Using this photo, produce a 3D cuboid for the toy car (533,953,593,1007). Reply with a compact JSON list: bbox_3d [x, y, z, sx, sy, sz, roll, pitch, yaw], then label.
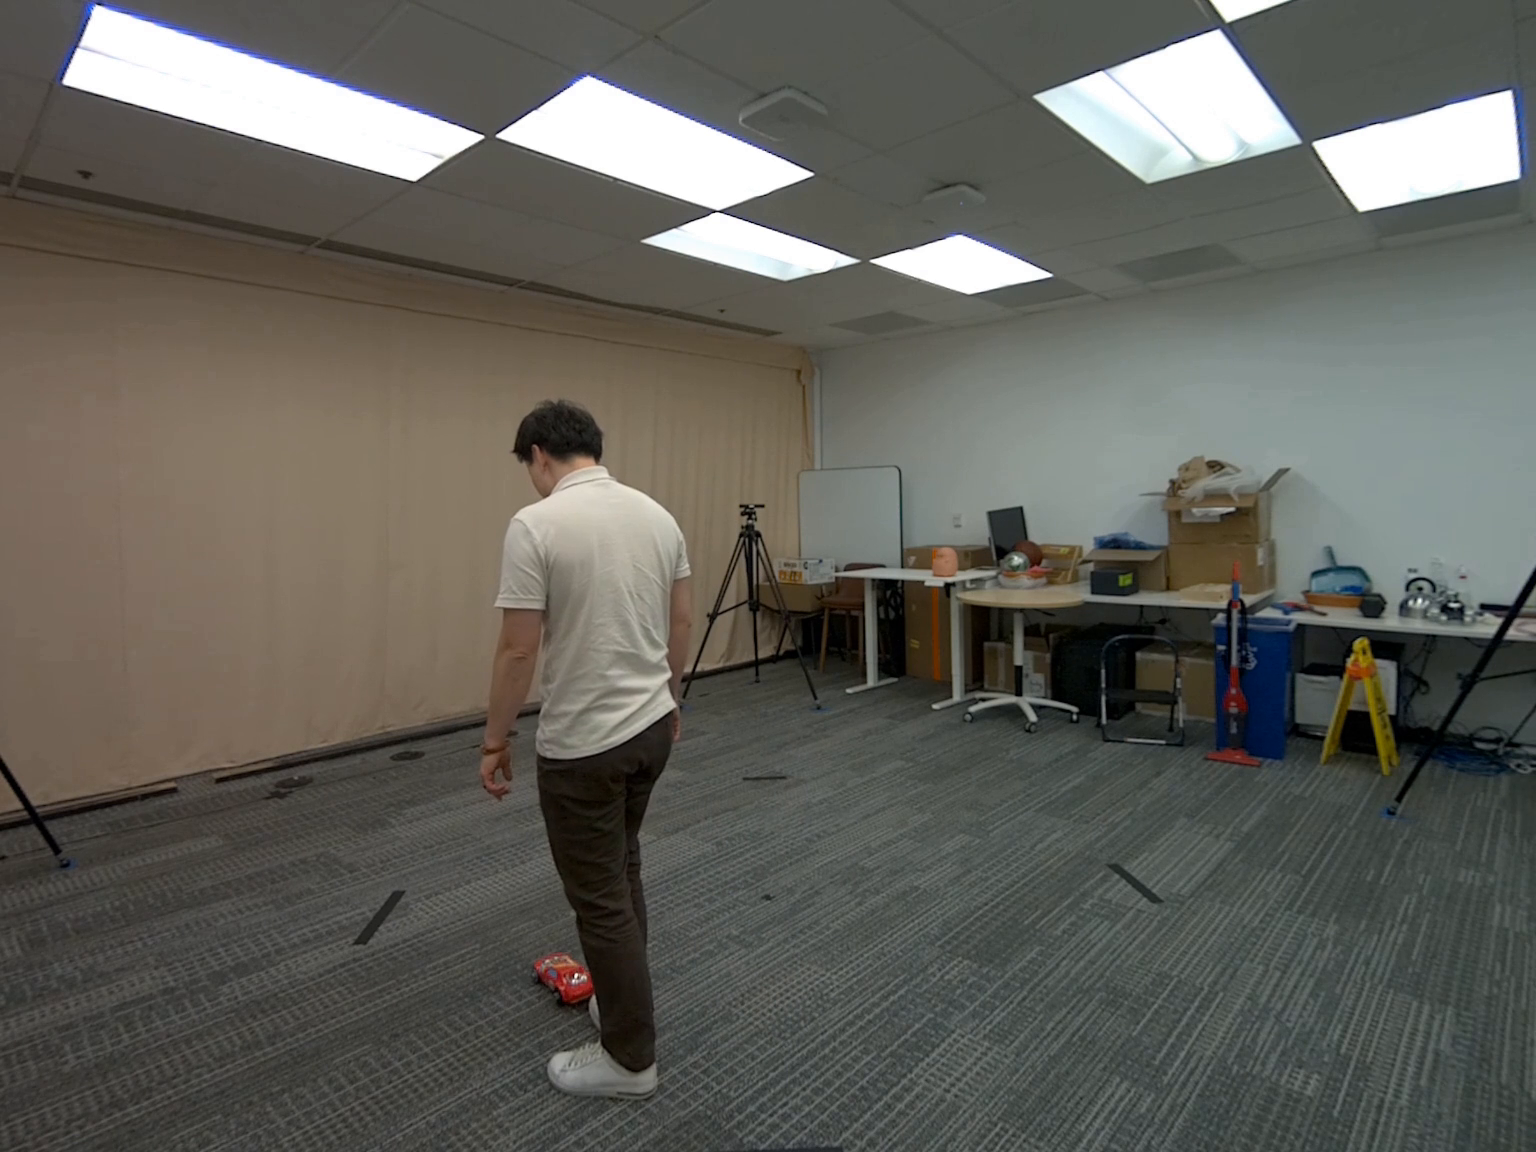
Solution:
[{"bbox_3d":[-0.584,1.170,2.423,0.126,0.083,0.261,-6,-4,-39],"label":"toy car"}]
